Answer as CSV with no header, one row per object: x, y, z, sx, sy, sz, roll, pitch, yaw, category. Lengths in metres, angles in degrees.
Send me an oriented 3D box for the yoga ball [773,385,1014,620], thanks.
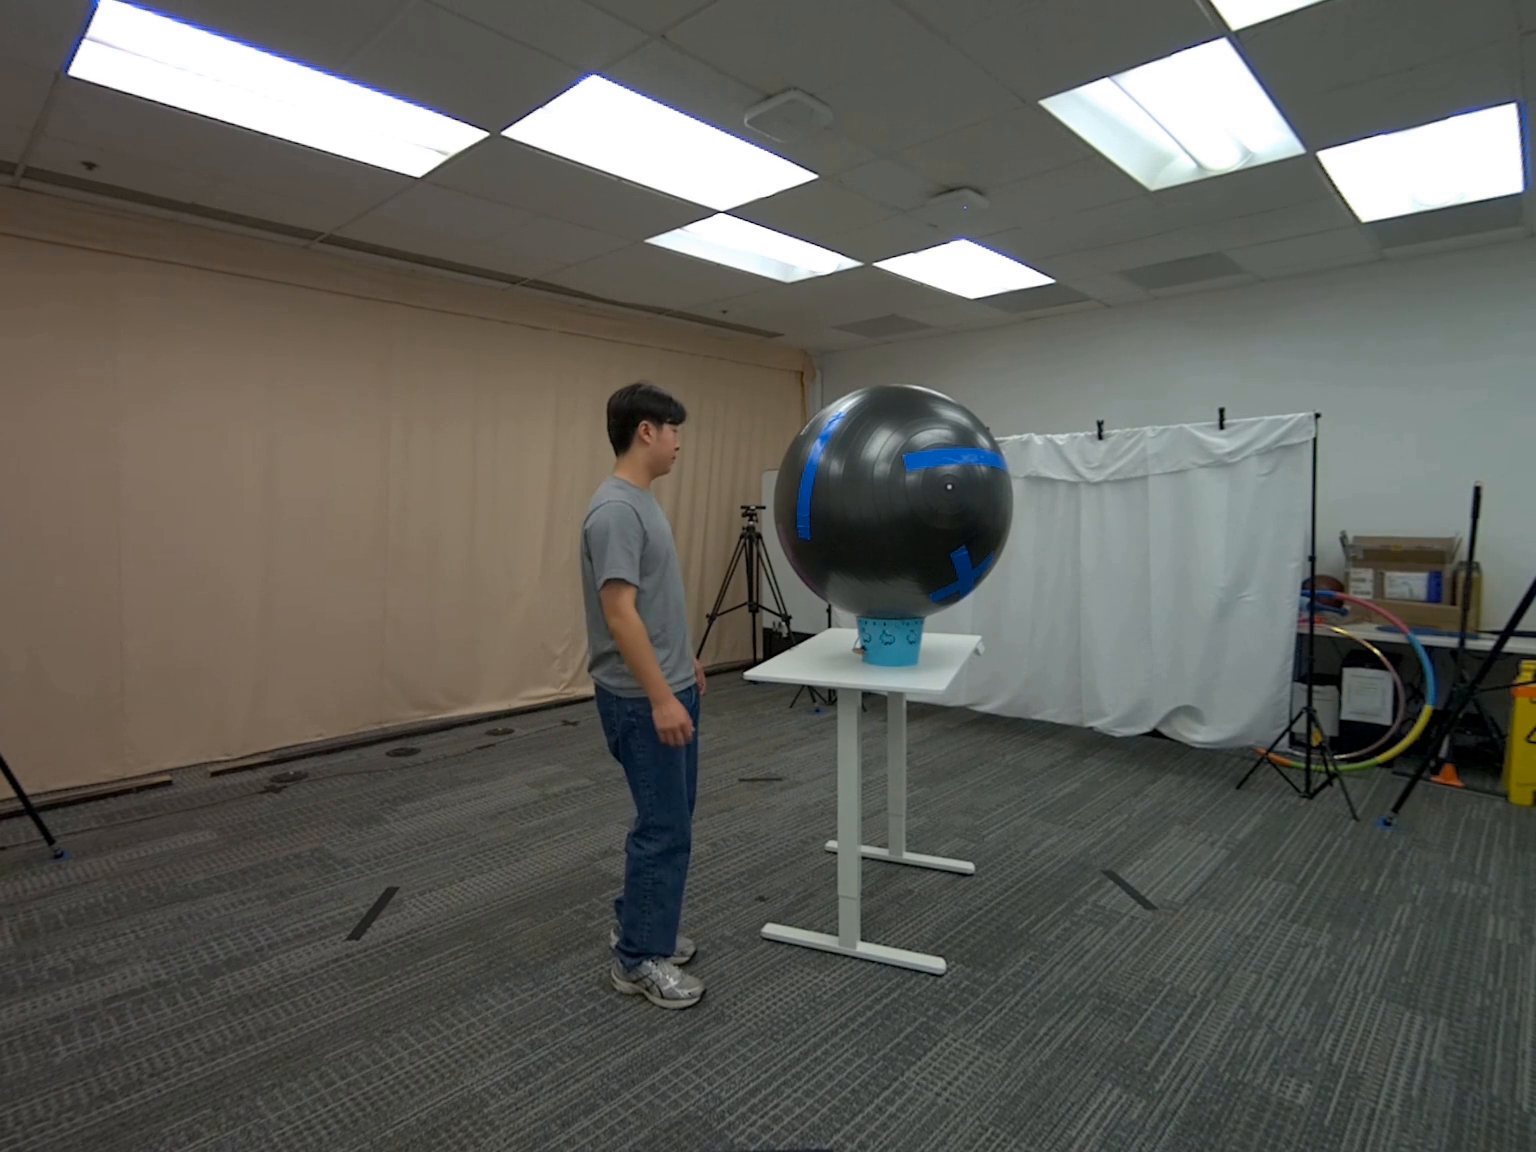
0.402,-0.232,2.741,0.757,0.756,0.760,0,4,-2,yoga ball
